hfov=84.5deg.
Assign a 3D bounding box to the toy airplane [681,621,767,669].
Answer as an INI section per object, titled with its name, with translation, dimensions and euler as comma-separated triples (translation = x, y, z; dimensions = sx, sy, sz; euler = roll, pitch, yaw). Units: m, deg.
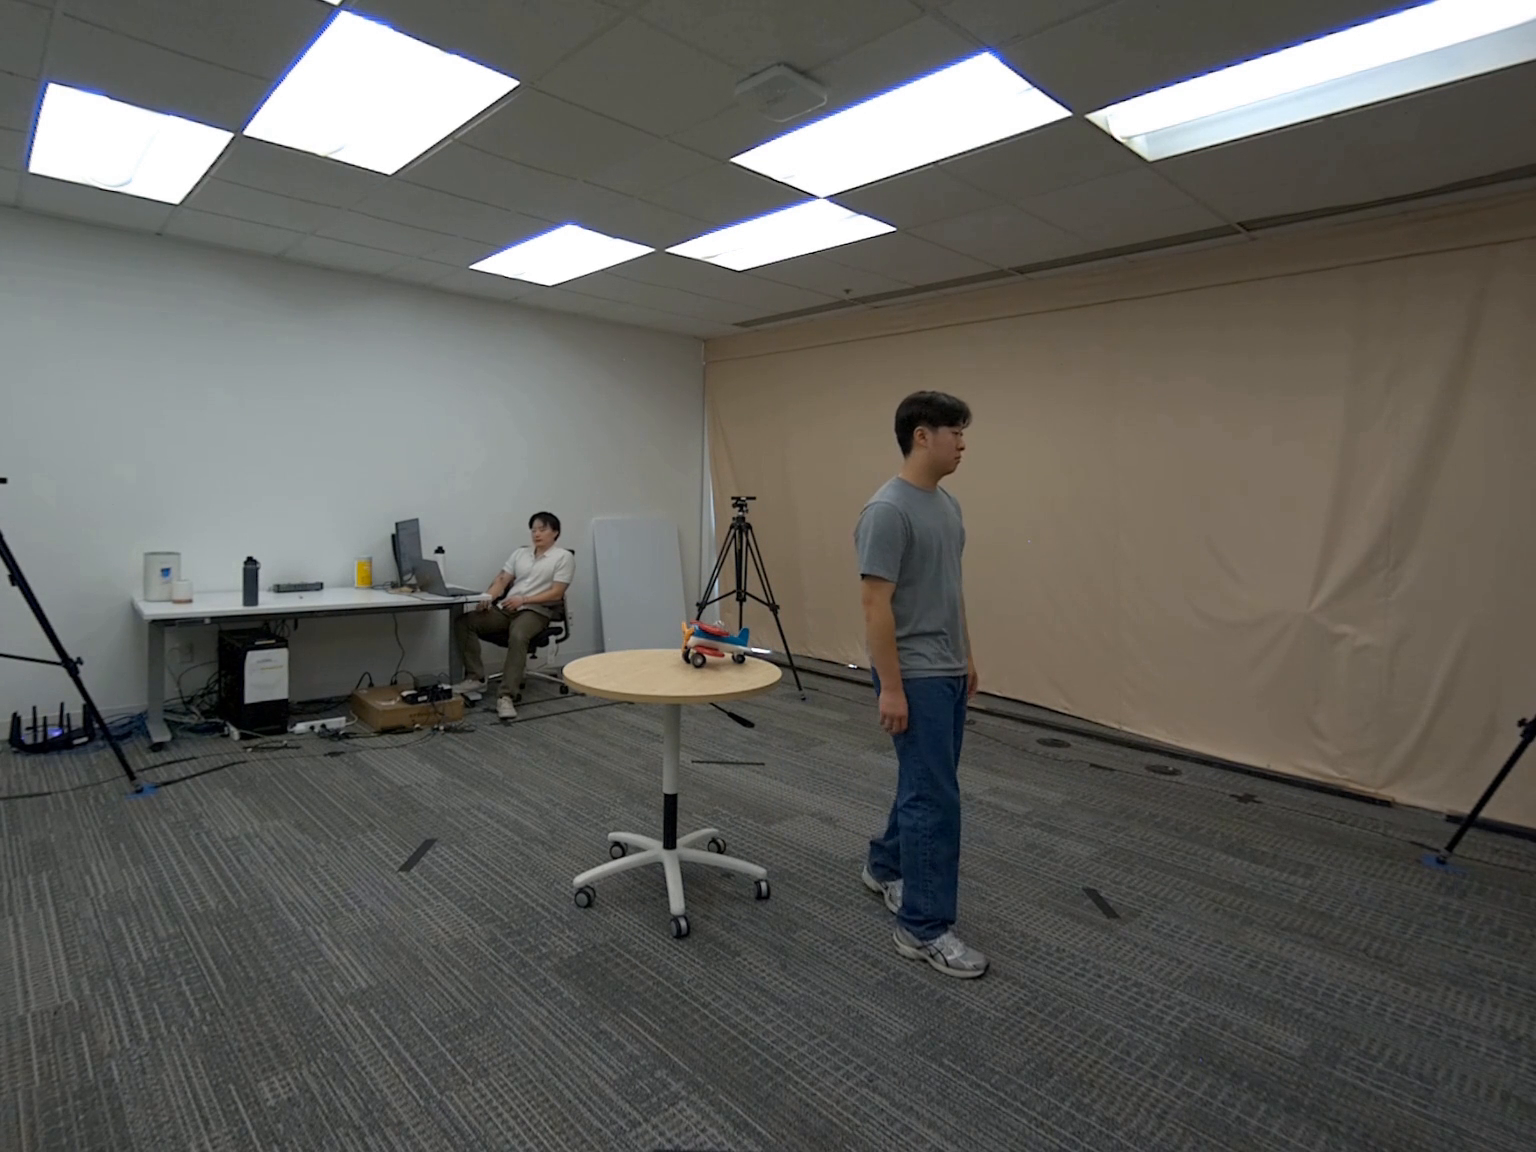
[toy airplane]
translation = -0.206, 0.246, 3.082
dimensions = 0.257, 0.156, 0.254
euler = 6, 7, 37
